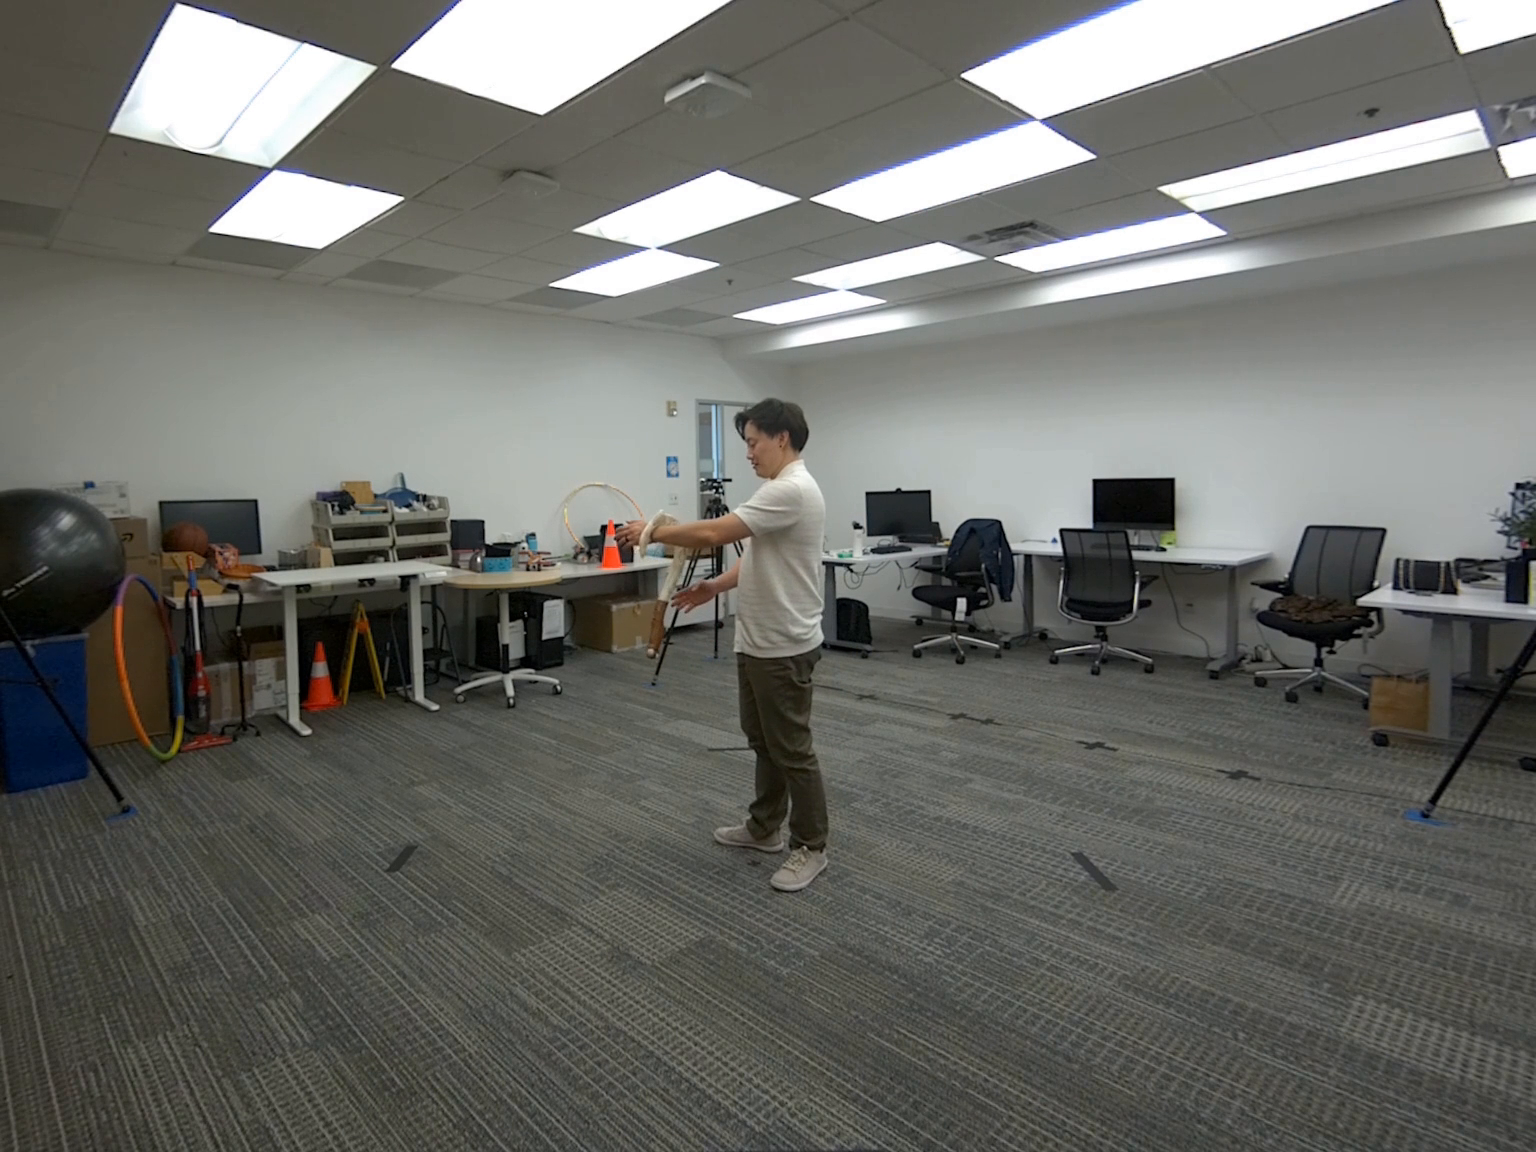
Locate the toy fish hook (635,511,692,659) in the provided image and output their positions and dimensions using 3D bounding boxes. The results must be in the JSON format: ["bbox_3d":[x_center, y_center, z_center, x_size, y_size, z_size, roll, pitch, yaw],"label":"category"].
[{"bbox_3d":[-0.388,0.023,2.917,0.049,0.514,0.216,-10,-28,40],"label":"toy fish hook"}]
